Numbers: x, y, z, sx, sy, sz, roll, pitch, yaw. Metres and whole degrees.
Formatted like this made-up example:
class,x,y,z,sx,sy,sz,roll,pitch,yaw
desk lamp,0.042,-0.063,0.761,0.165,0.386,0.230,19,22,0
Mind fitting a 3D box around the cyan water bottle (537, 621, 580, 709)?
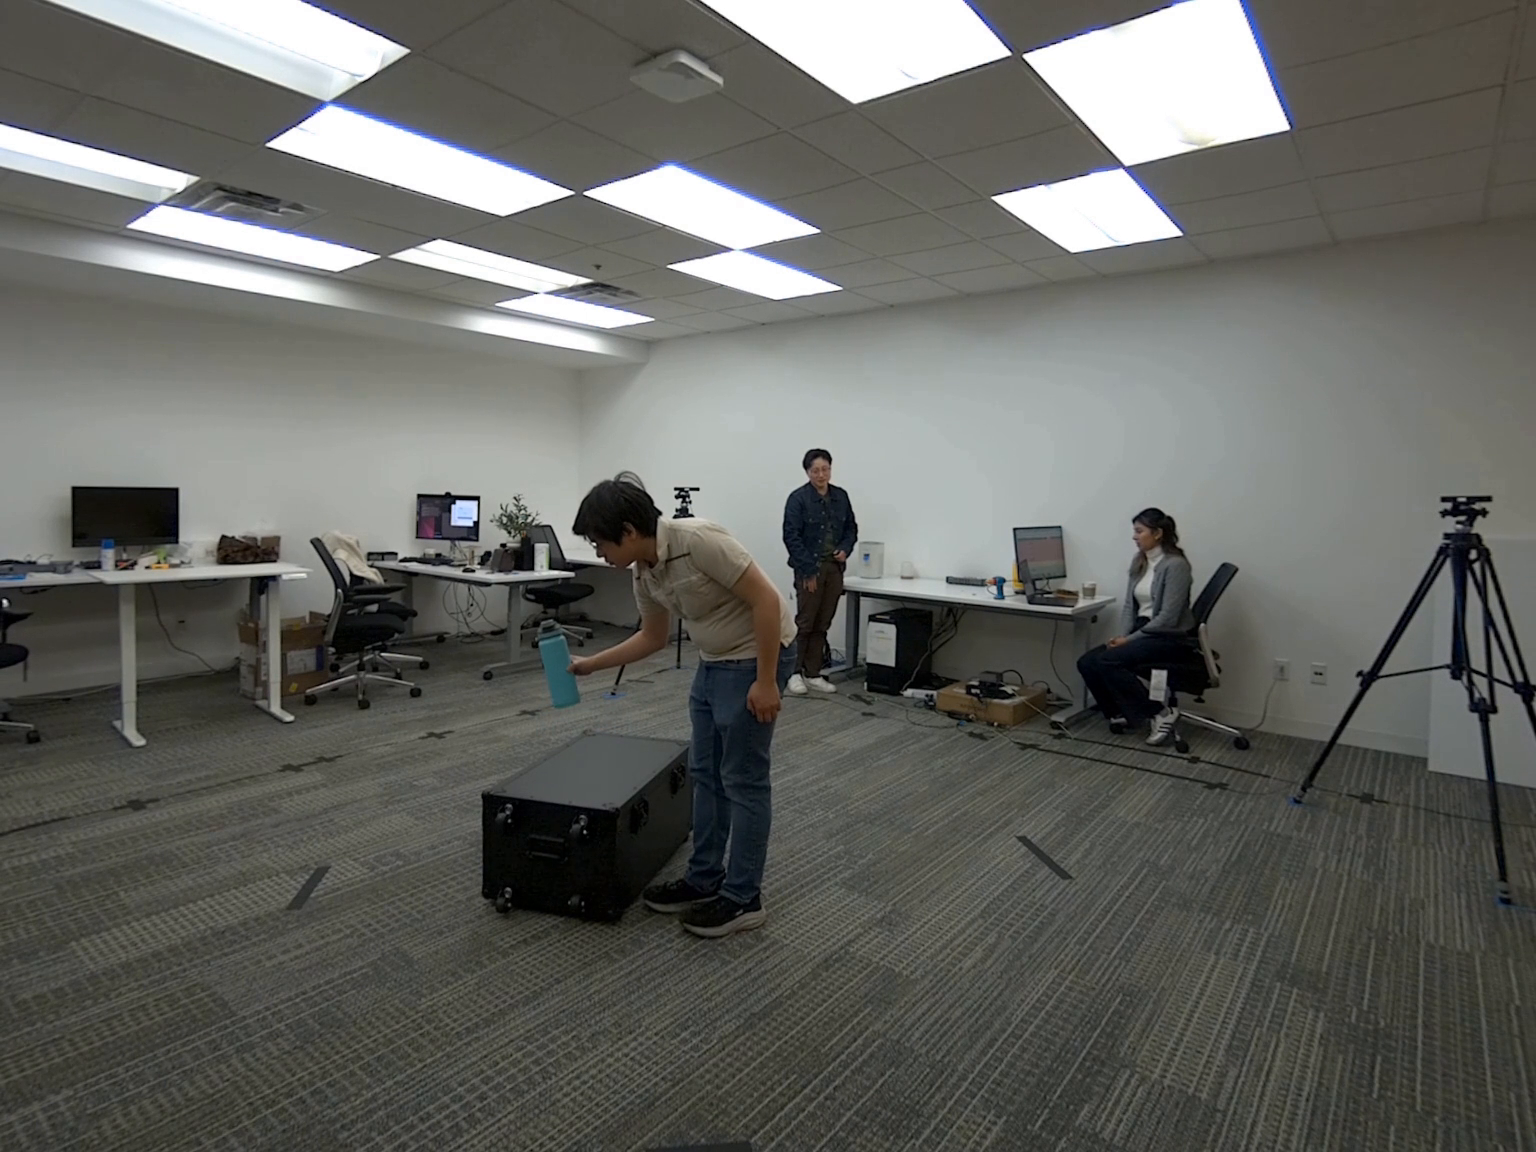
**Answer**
class,x,y,z,sx,sy,sz,roll,pitch,yaw
cyan water bottle,-0.701,0.285,2.788,0.092,0.283,0.092,-15,0,-1
